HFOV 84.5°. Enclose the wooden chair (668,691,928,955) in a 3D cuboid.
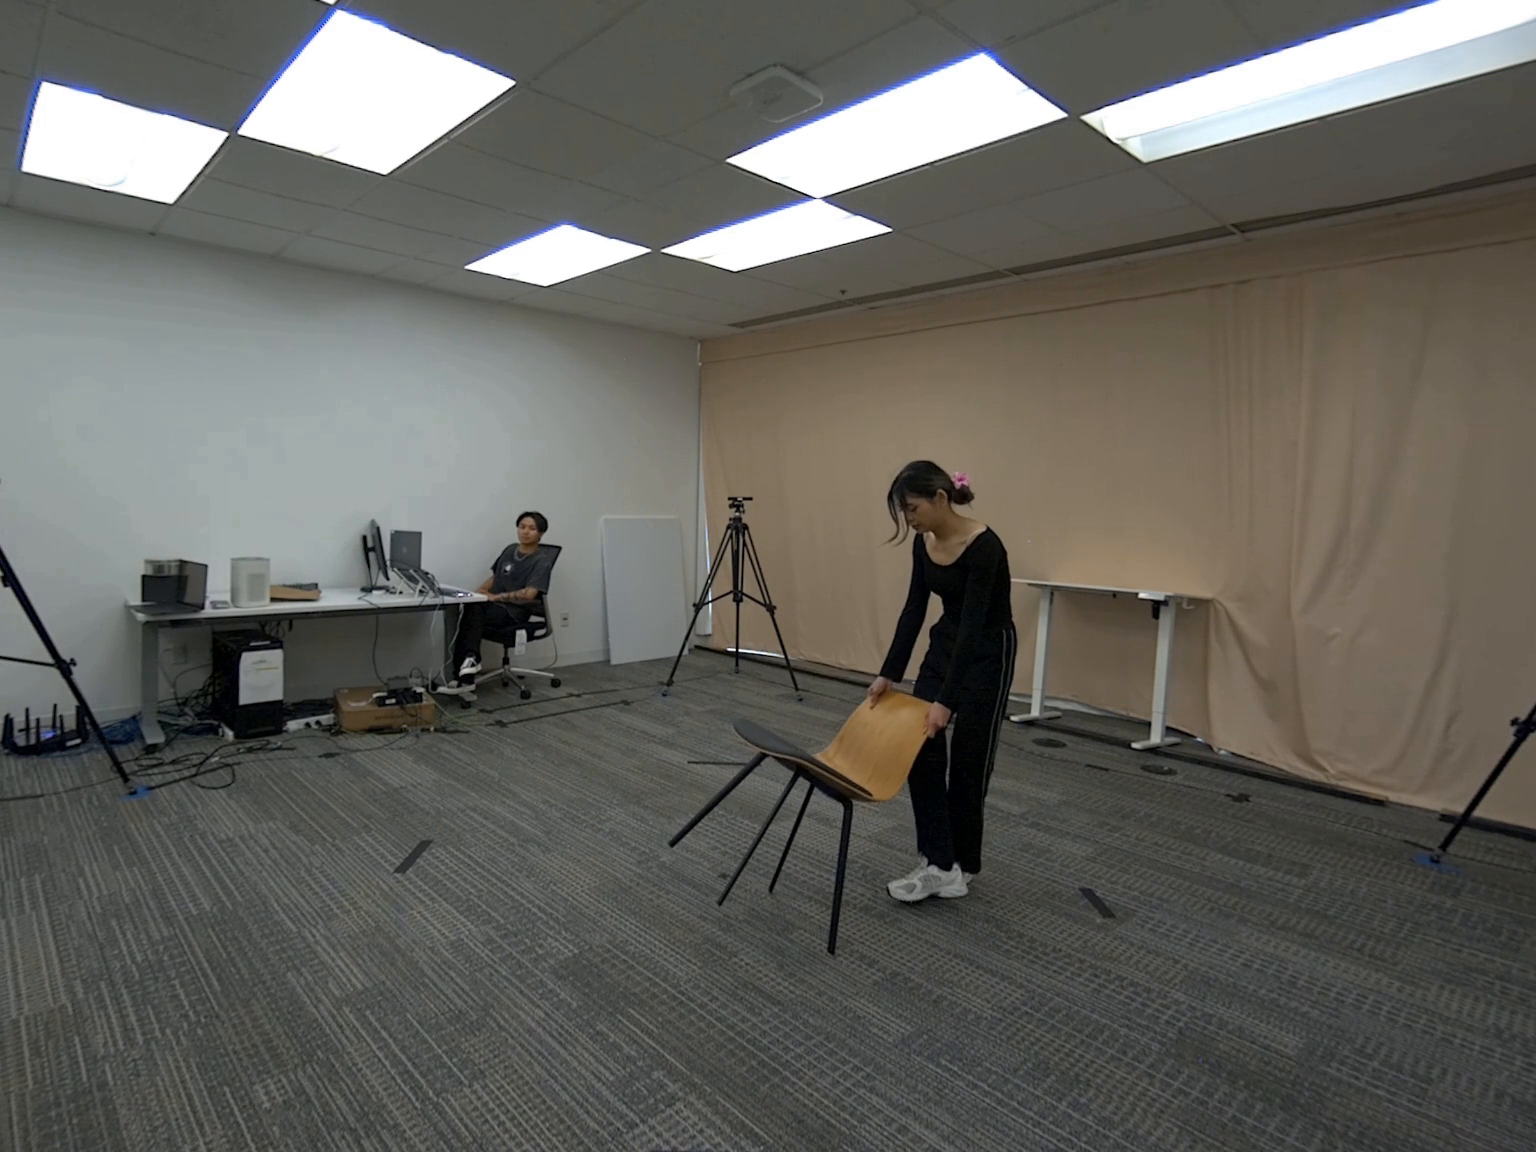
[{"bbox_3d":[0.121,0.658,2.745,0.512,0.879,0.488,37,-10,-22],"label":"wooden chair"}]
